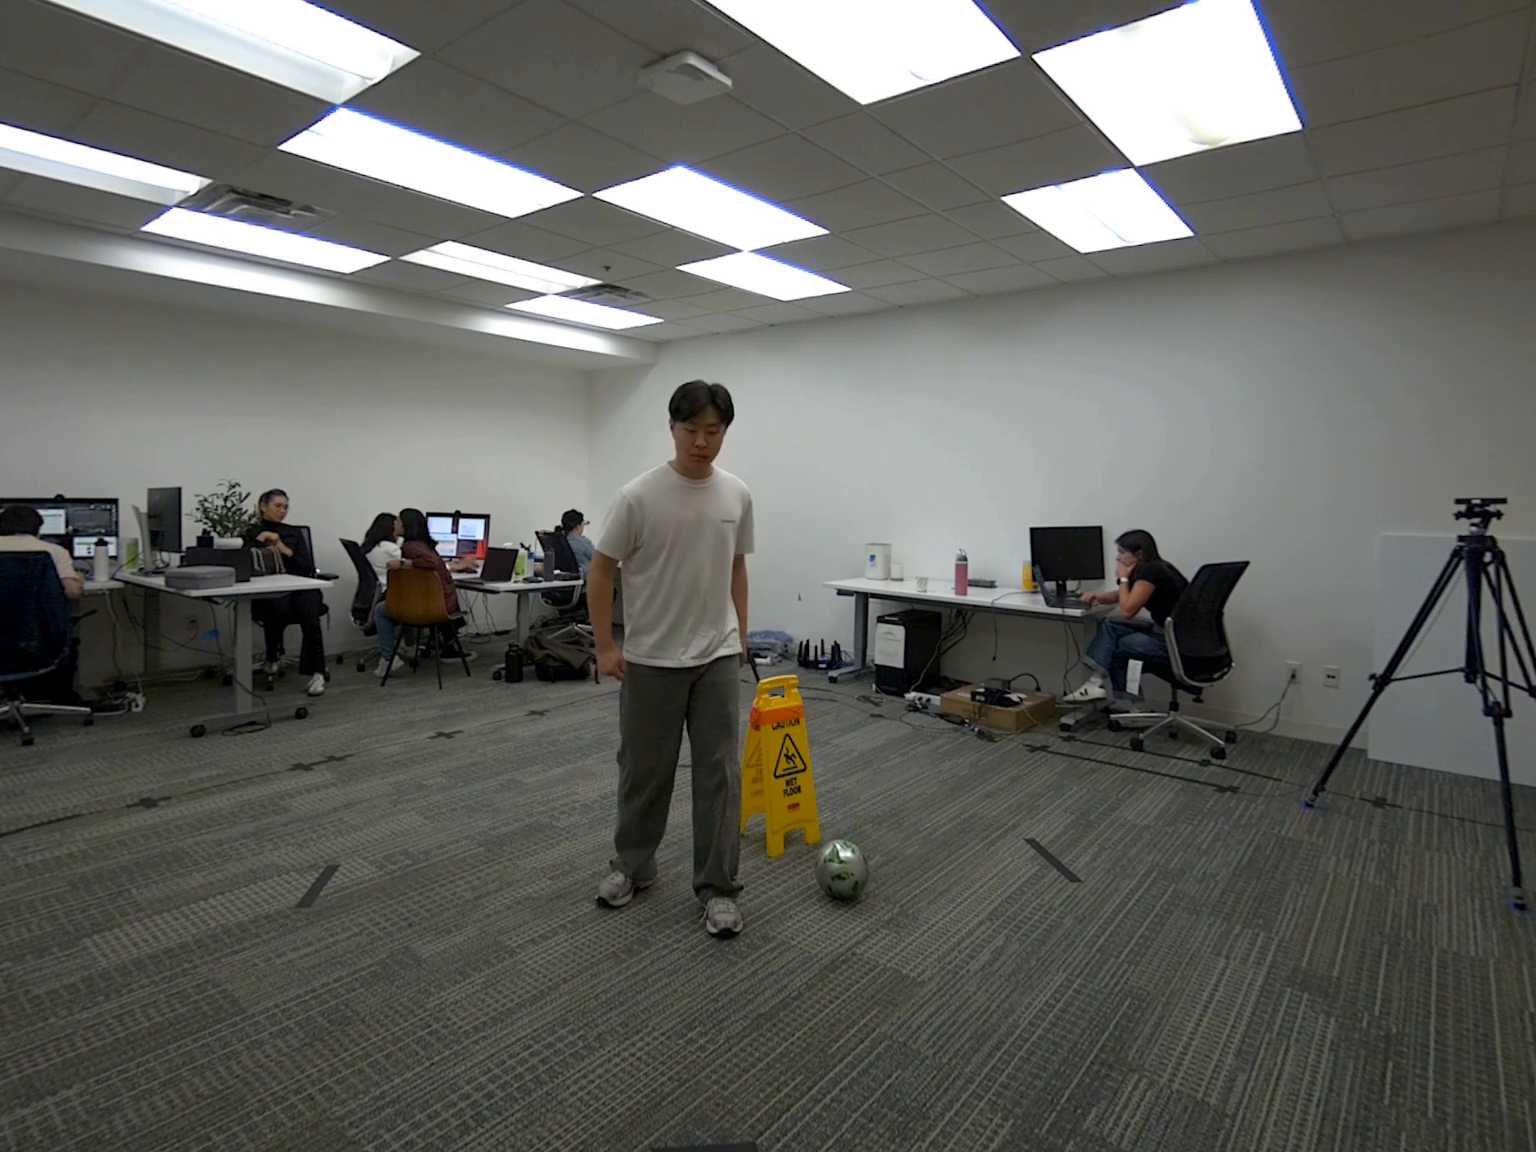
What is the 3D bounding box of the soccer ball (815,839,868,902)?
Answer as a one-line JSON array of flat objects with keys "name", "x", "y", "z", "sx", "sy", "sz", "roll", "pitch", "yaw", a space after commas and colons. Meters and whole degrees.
[{"name": "soccer ball", "x": 0.247, "y": 1.022, "z": 2.943, "sx": 0.187, "sy": 0.187, "sz": 0.188, "roll": 1, "pitch": 4, "yaw": -2}]
